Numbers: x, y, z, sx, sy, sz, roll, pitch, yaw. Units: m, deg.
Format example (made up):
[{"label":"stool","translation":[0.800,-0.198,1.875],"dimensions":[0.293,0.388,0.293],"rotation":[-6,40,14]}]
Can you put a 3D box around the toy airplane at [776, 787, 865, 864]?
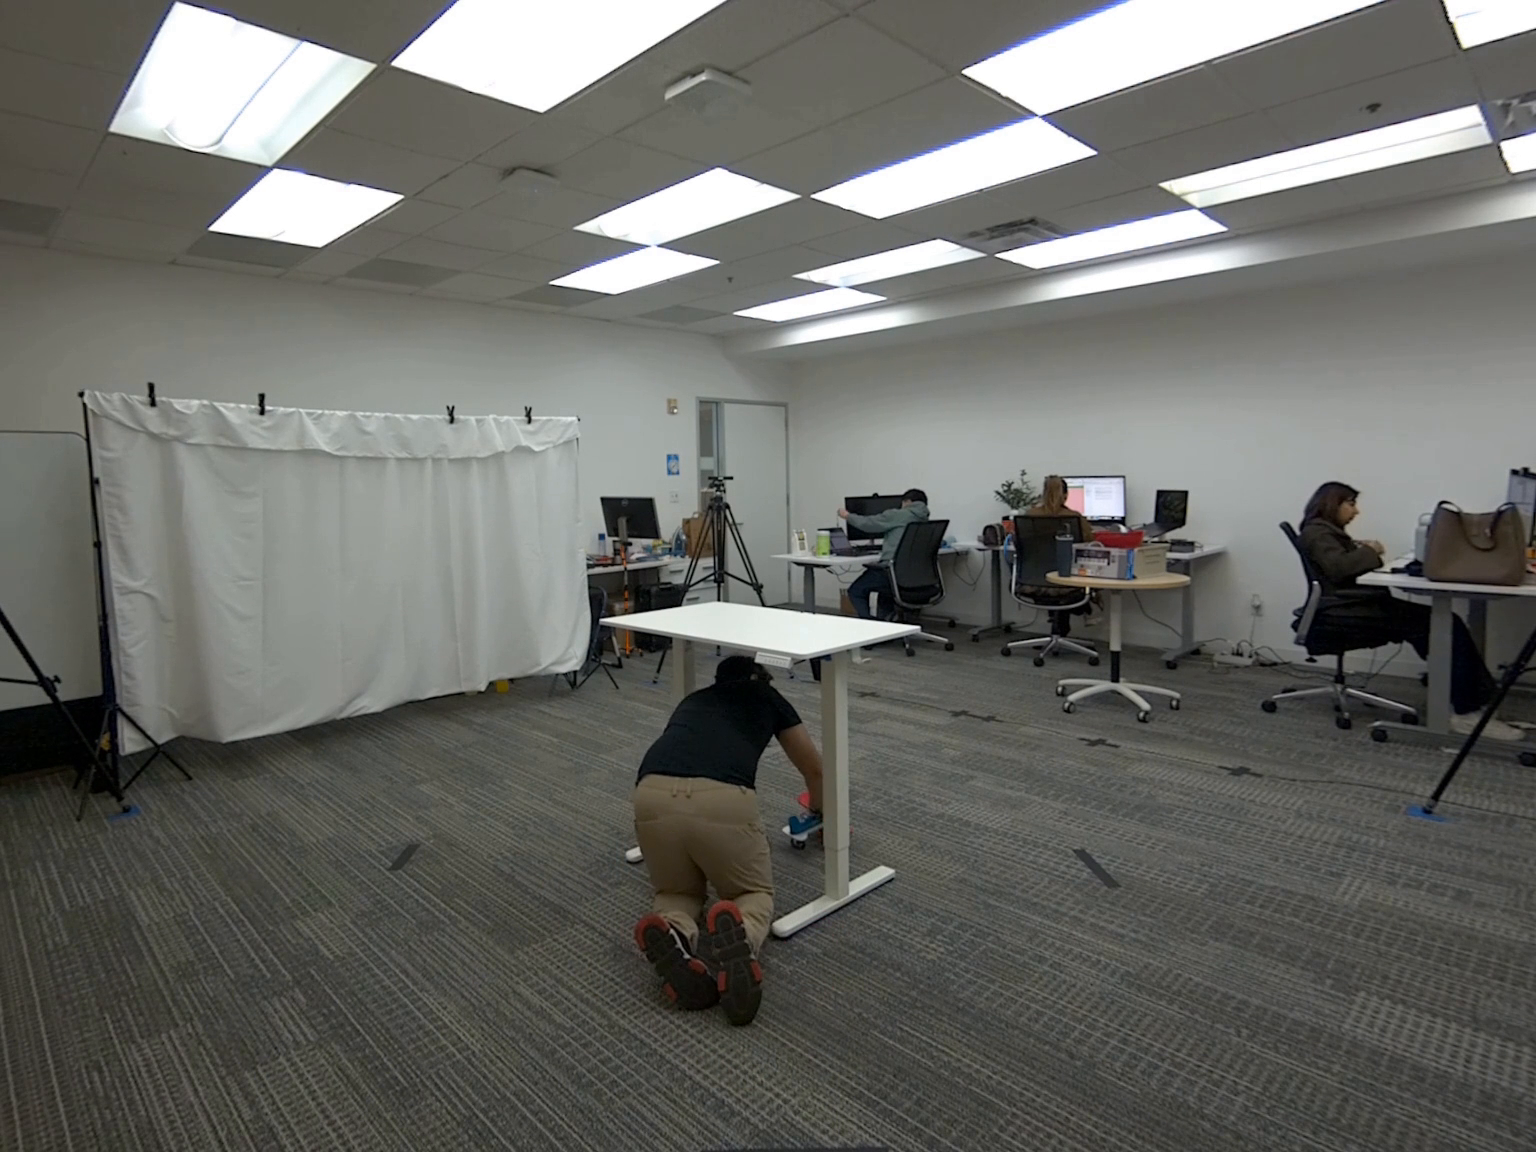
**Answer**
[{"label":"toy airplane","translation":[0.200,0.935,3.247],"dimensions":[0.257,0.156,0.254],"rotation":[2,5,28]}]
